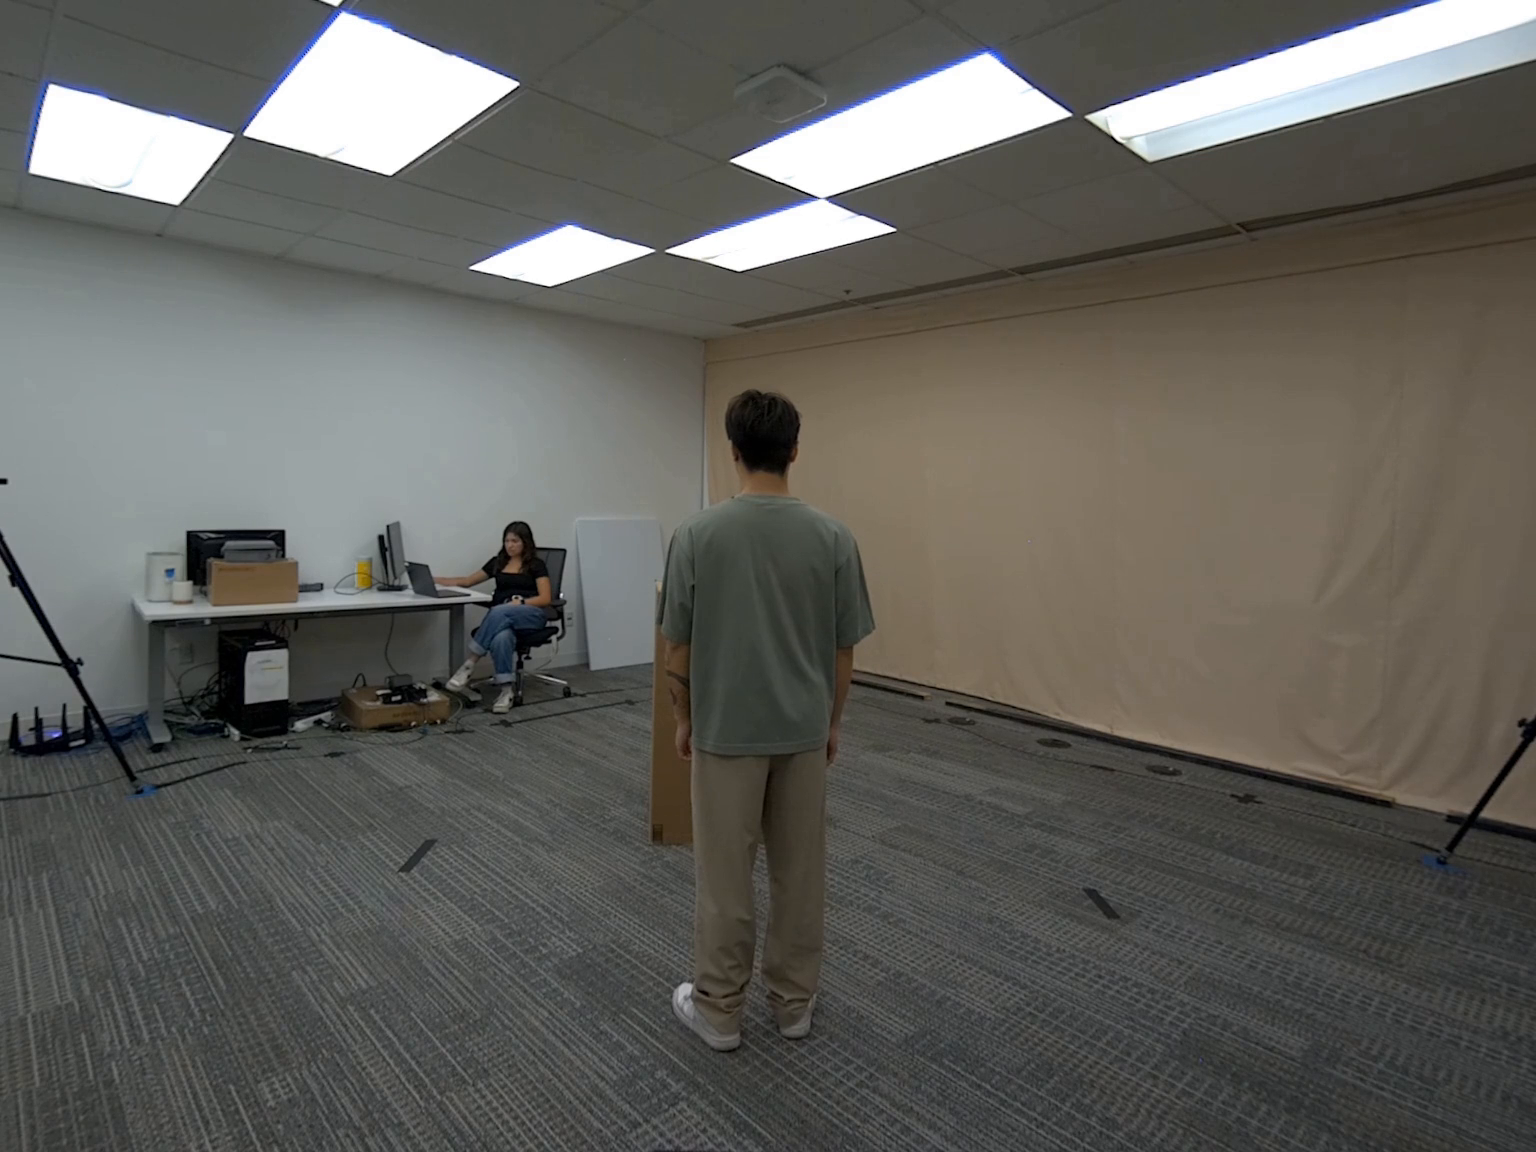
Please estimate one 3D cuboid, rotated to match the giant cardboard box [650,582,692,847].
[{"bbox_3d":[-0.204,0.559,3.582,0.574,1.024,0.429,1,2,-7],"label":"giant cardboard box"}]
